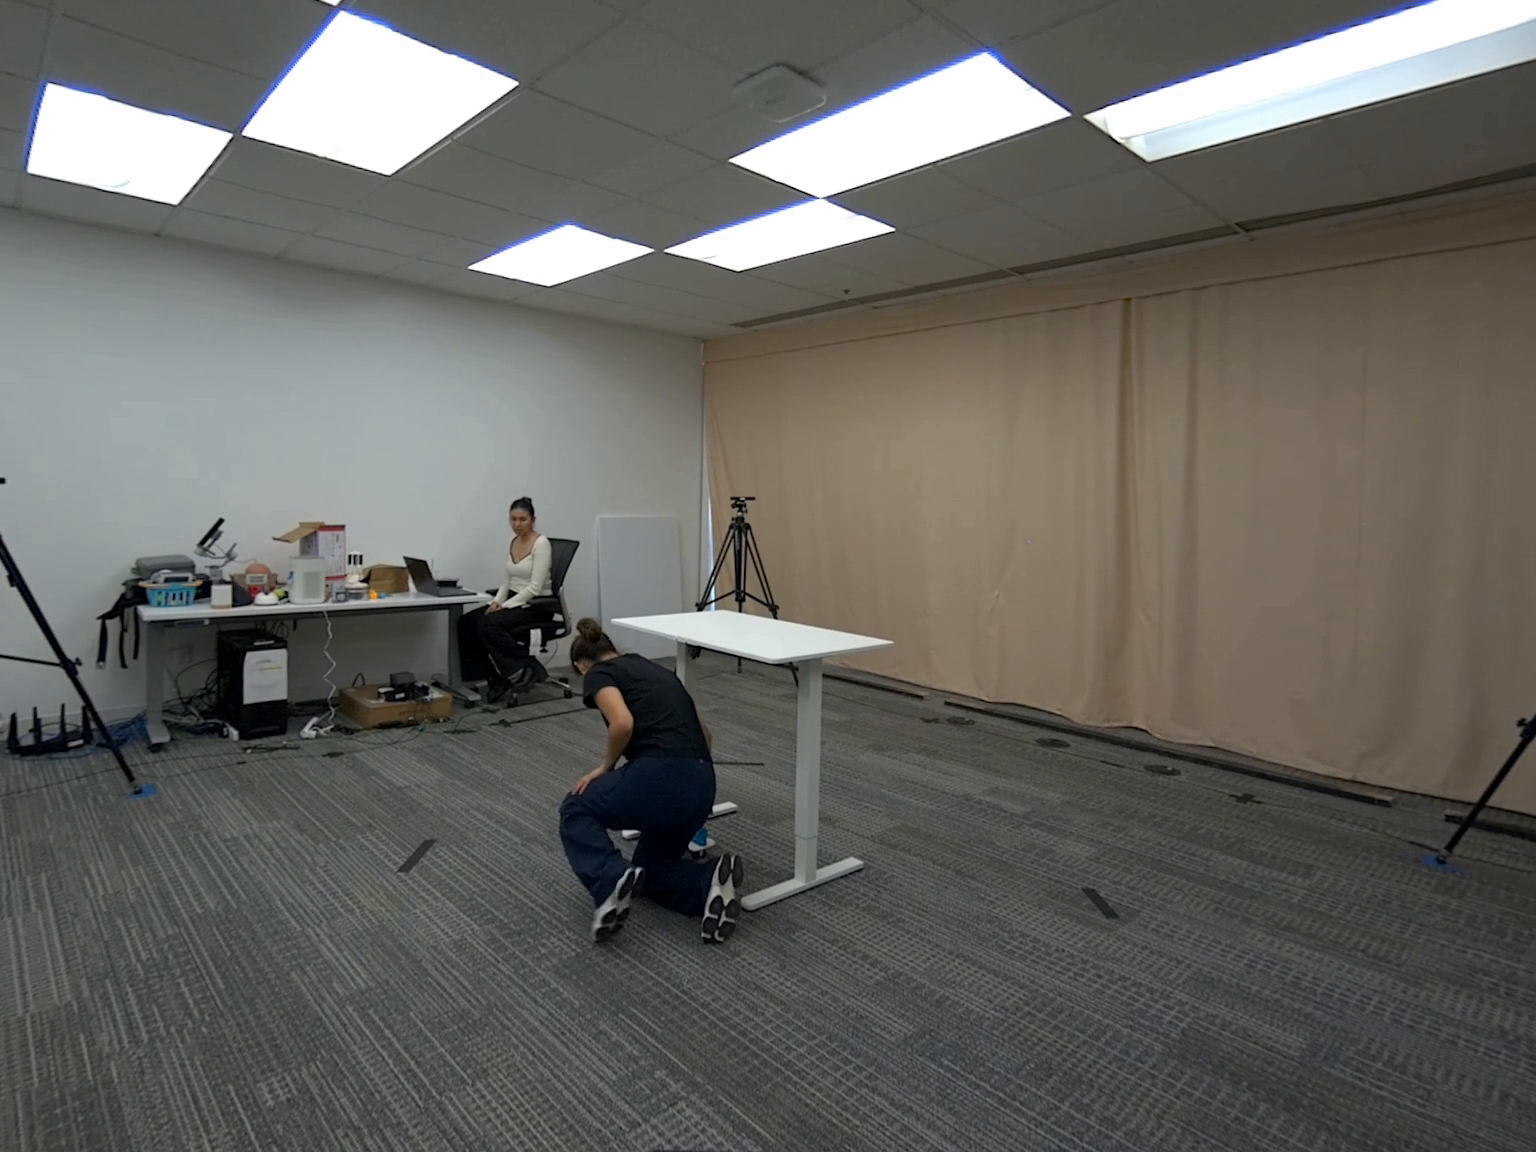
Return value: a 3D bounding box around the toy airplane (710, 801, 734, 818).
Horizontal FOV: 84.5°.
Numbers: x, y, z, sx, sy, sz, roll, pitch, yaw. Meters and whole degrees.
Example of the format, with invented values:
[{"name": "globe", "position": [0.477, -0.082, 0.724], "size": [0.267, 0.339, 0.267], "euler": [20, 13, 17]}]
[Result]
[{"name": "toy airplane", "position": [-0.329, 1.016, 3.312], "size": [0.263, 0.156, 0.248], "euler": [1, 4, 16]}]
